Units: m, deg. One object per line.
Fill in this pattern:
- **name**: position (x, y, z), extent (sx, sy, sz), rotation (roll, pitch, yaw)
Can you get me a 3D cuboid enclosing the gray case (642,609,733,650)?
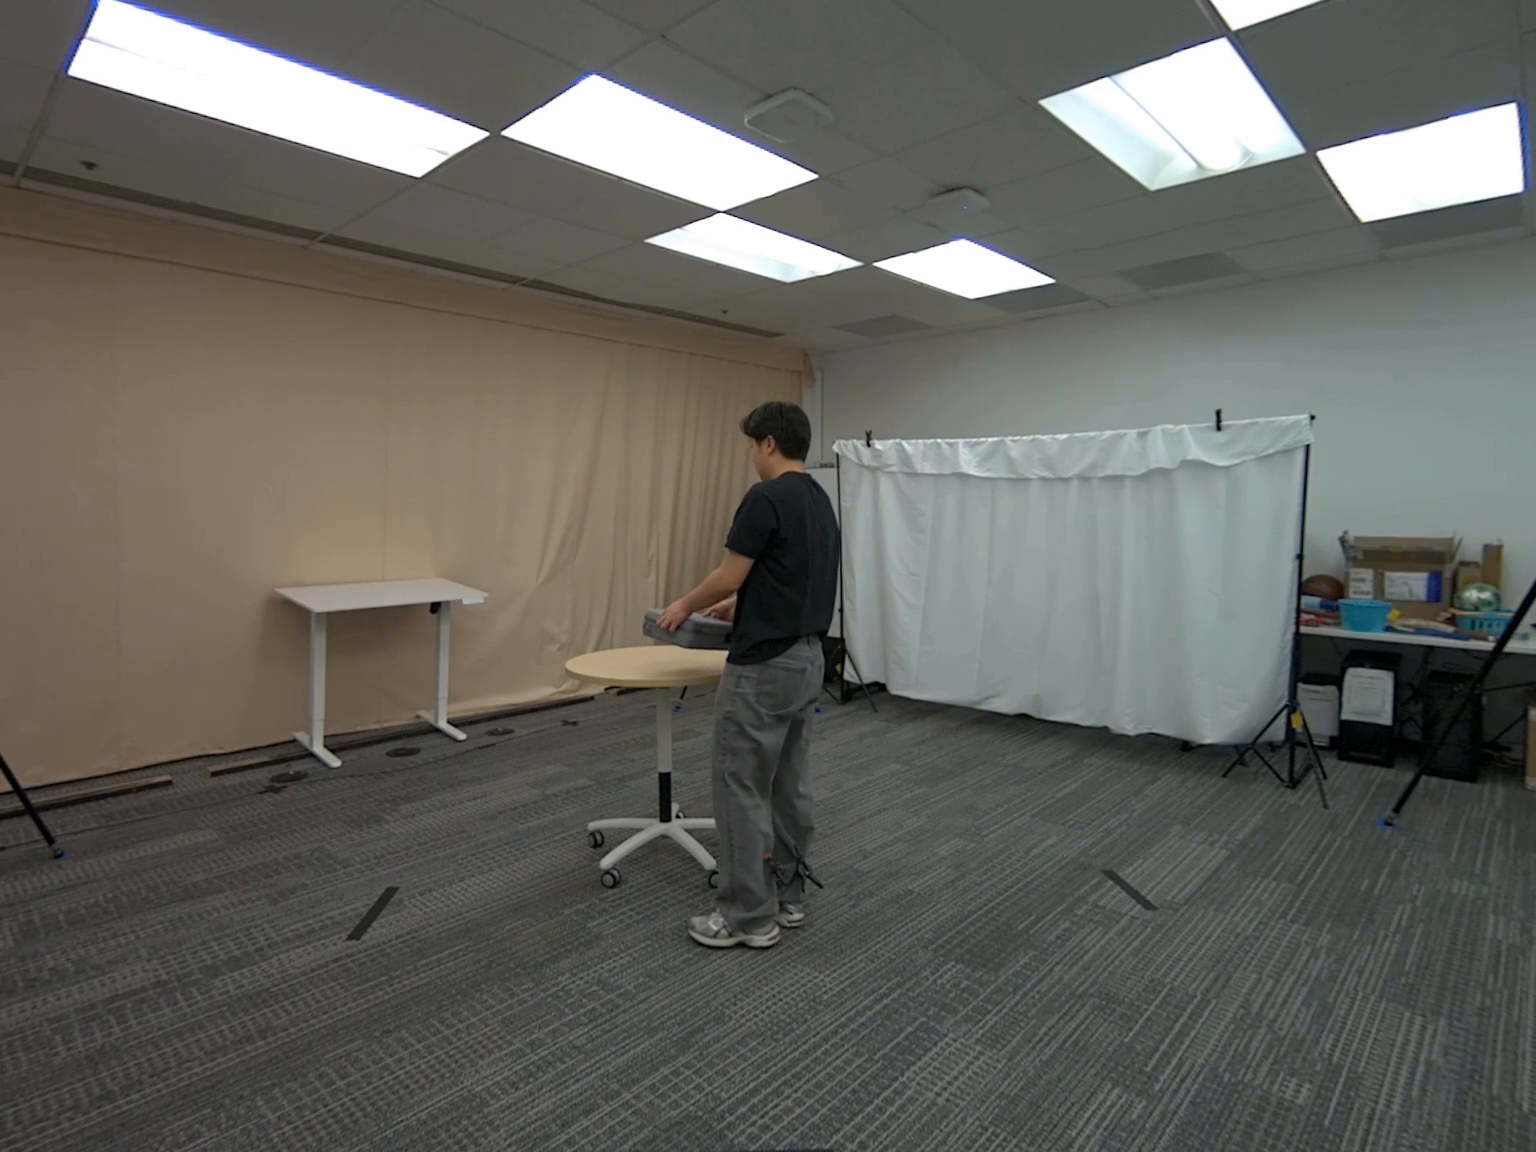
- **gray case**: position (-0.296, 0.194, 3.023), extent (0.297, 0.103, 0.254), rotation (11, 3, 42)
